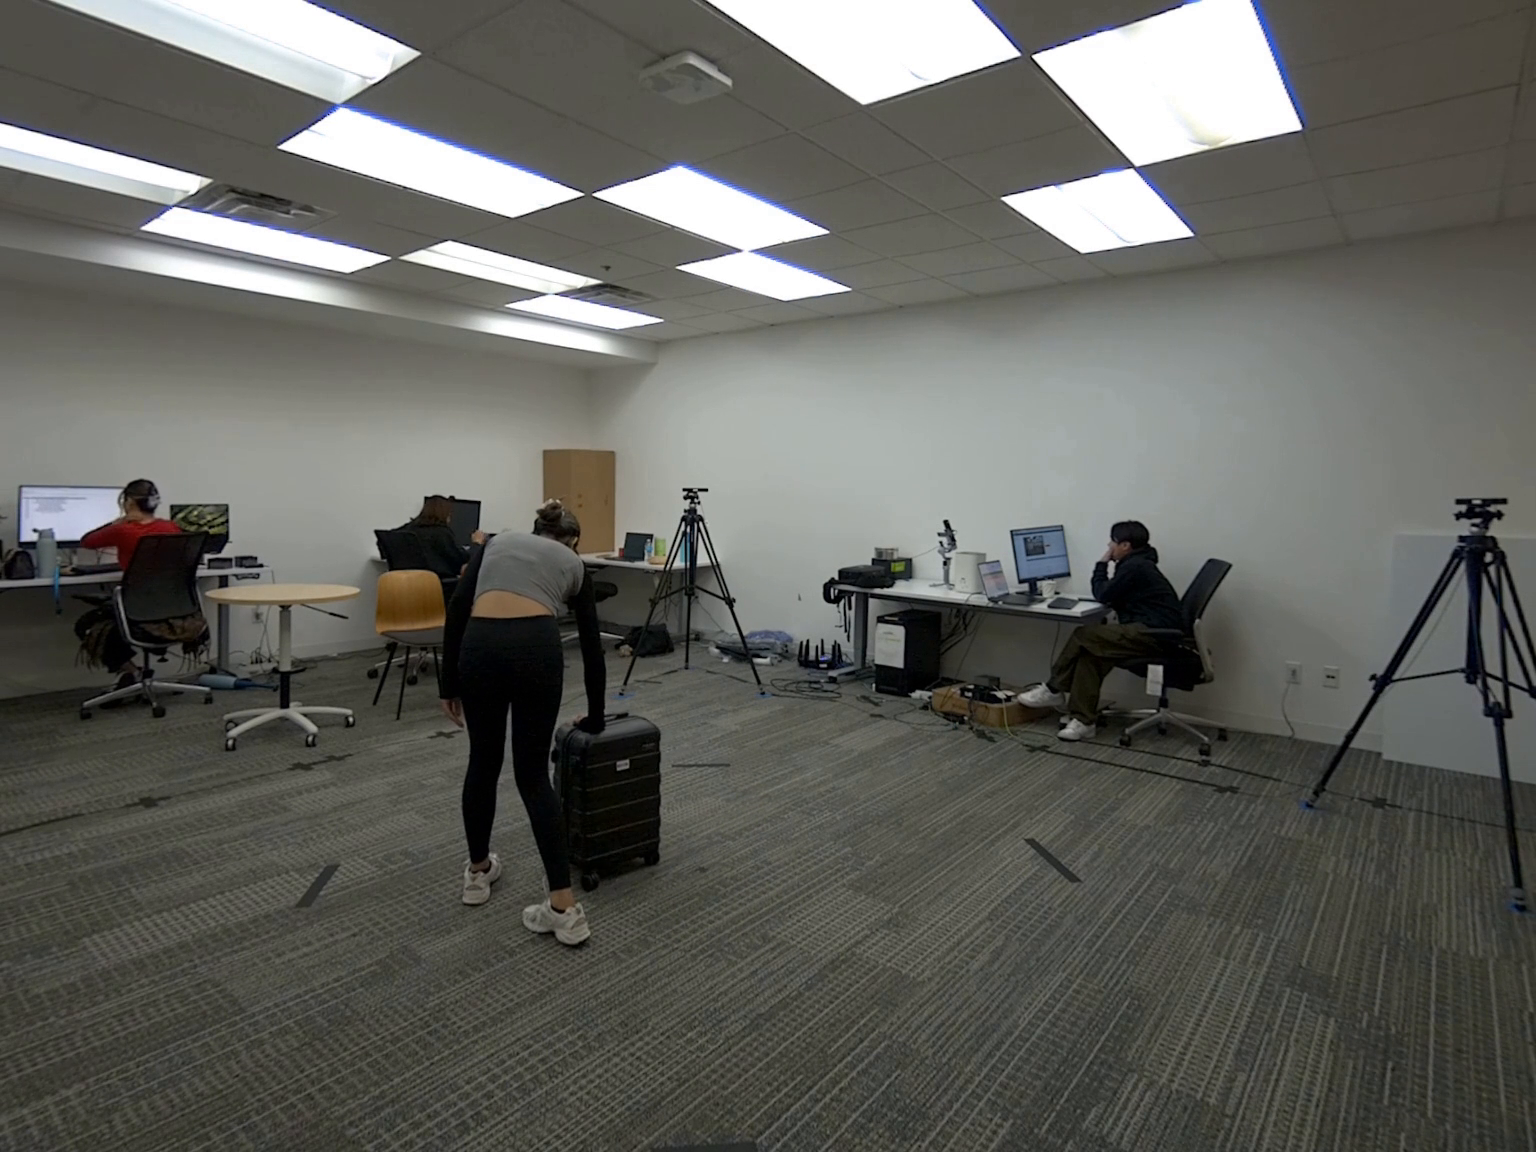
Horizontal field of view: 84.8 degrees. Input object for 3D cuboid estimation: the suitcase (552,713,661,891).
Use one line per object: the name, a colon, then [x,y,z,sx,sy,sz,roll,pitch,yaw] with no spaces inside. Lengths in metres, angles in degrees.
suitcase: [-0.597,0.789,3.118,0.364,0.548,0.257,-1,4,-40]
